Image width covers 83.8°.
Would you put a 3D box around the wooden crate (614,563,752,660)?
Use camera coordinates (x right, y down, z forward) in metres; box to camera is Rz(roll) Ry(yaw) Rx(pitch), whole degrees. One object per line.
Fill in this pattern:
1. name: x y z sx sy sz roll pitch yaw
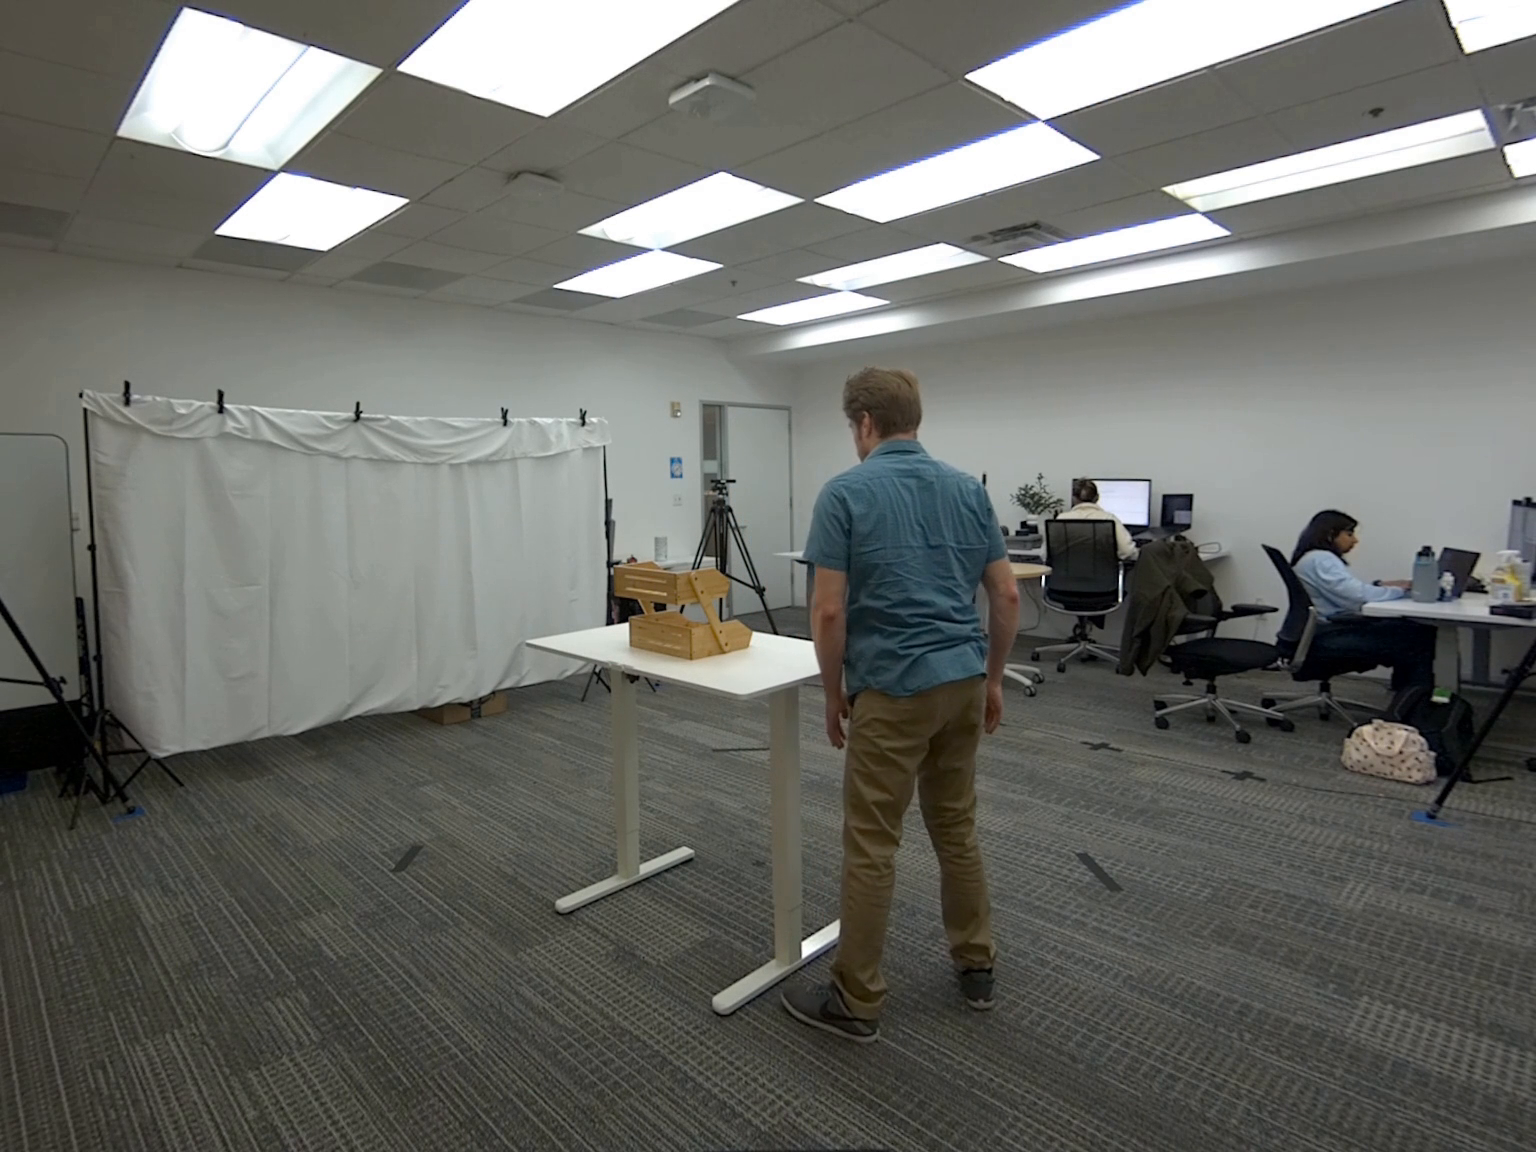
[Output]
1. wooden crate: -0.258 0.090 2.634 0.334 0.272 0.294 5 8 45
